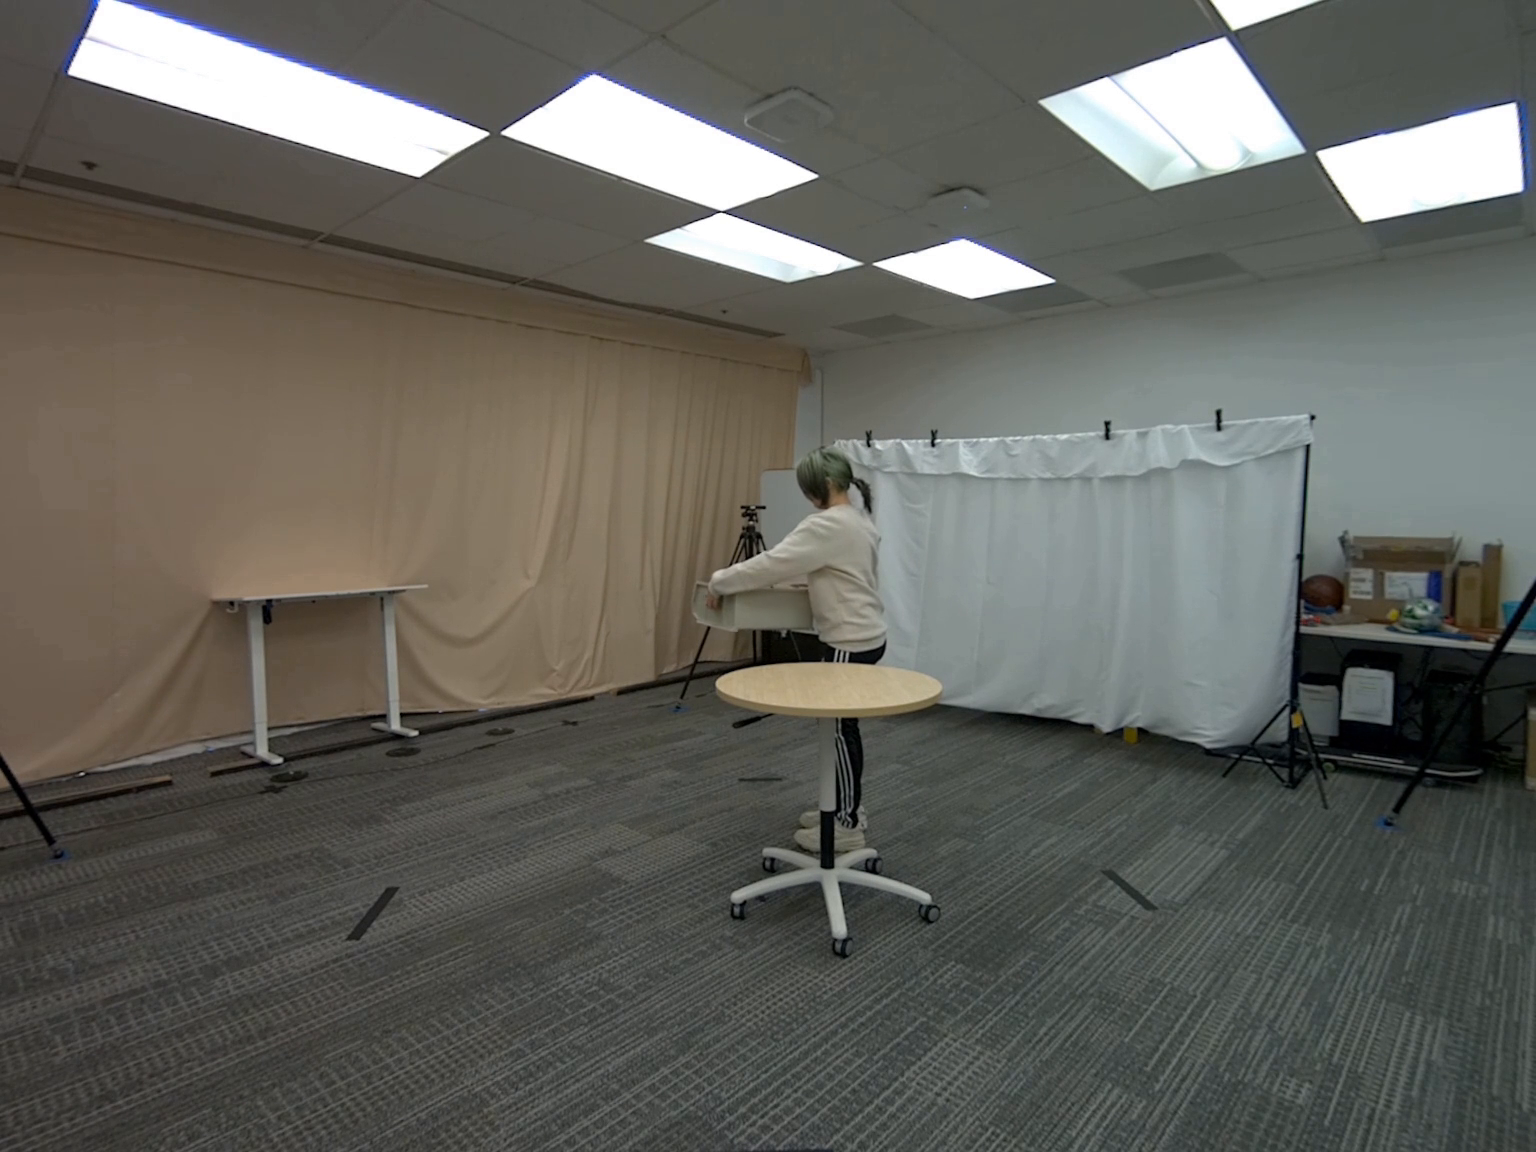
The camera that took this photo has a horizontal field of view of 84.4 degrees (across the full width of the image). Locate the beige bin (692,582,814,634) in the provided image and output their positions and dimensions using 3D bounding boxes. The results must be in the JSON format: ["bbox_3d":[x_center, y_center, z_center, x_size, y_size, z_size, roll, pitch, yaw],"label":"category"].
[{"bbox_3d":[-0.060,0.131,3.632,0.411,0.188,0.388,2,4,-29],"label":"beige bin"}]
